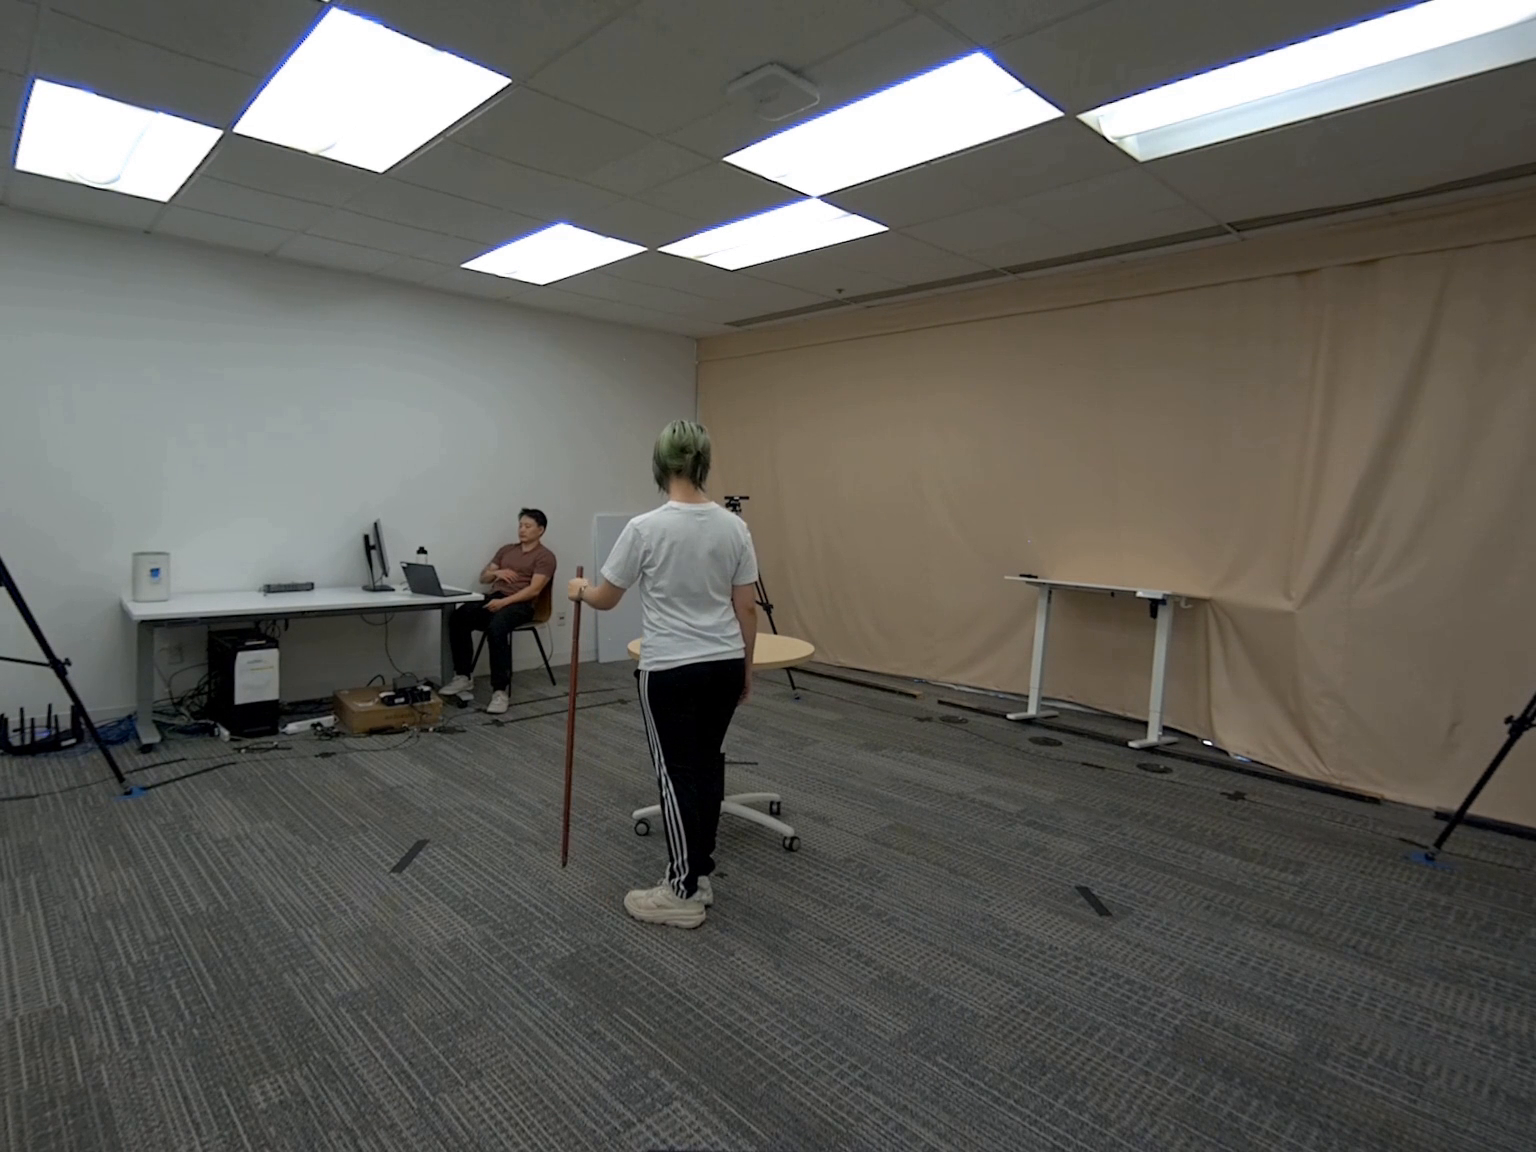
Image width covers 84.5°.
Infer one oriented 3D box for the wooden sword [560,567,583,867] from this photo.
[{"bbox_3d":[-0.677,0.498,2.910,0.024,1.039,0.051,3,-19,-18],"label":"wooden sword"}]
